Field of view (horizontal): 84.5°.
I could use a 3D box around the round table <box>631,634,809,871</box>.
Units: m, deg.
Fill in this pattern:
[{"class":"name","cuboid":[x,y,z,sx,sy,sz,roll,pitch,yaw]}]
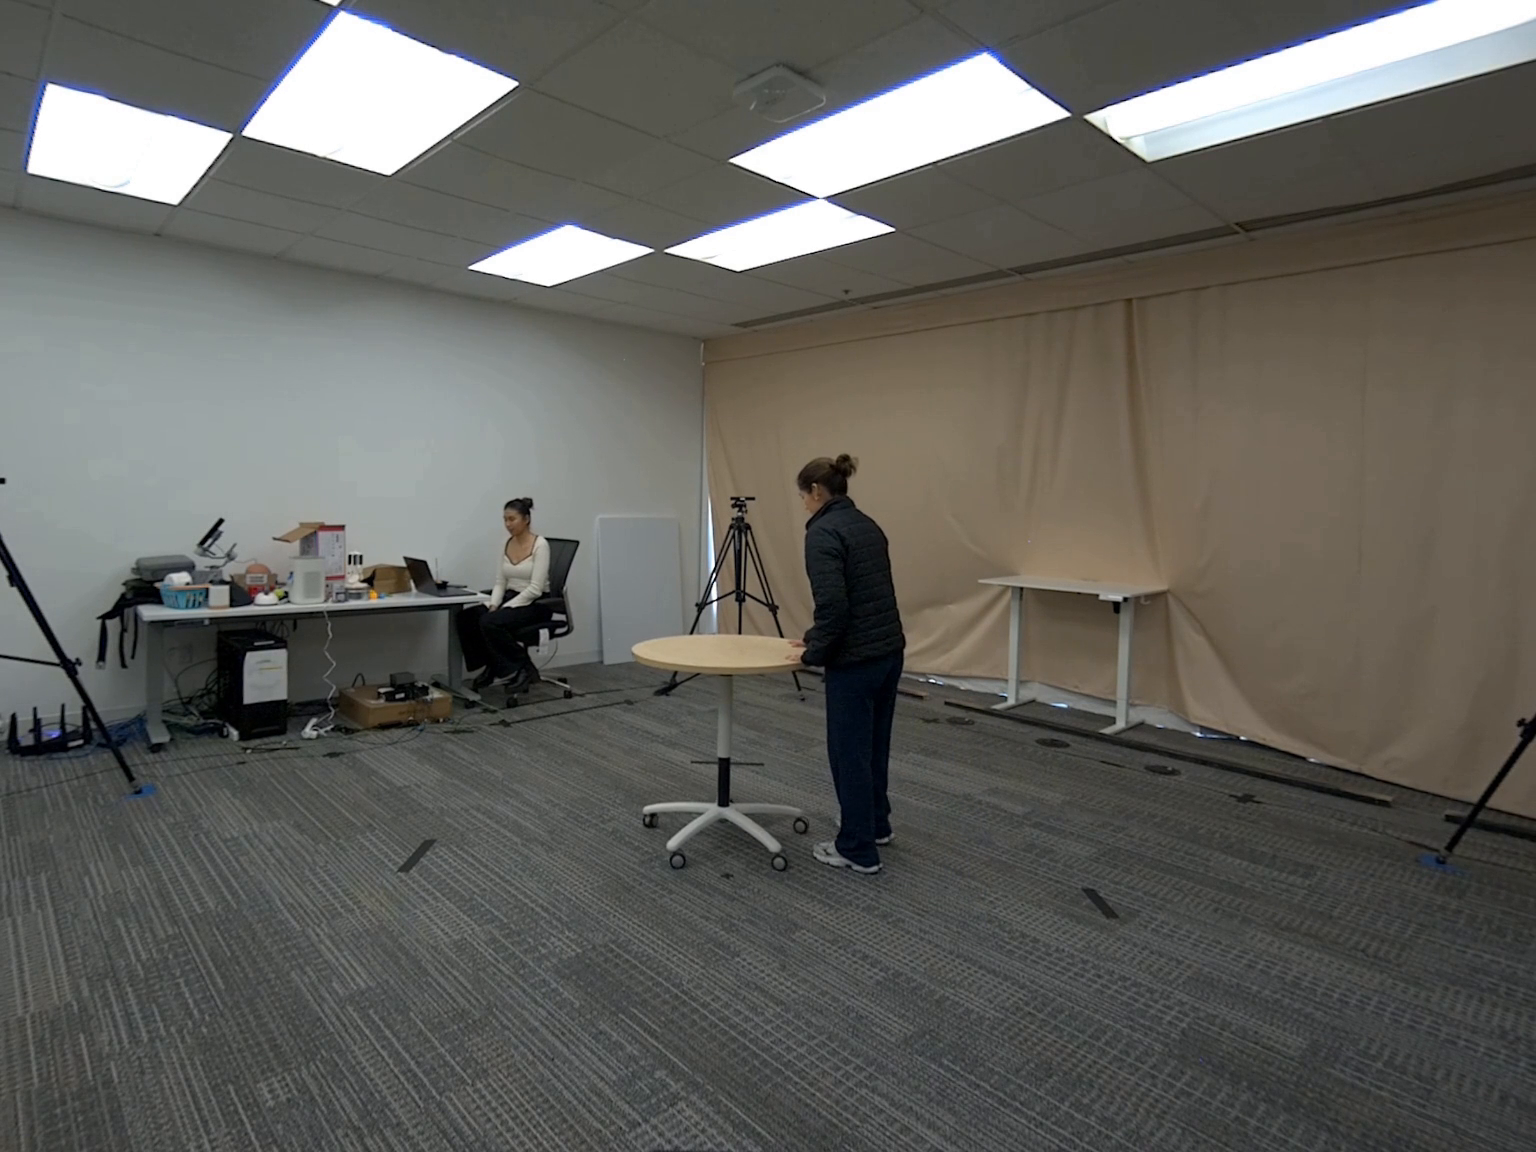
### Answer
[{"class":"round table","cuboid":[-0.168,0.684,3.423,0.784,0.784,0.788,1,4,-1]}]
